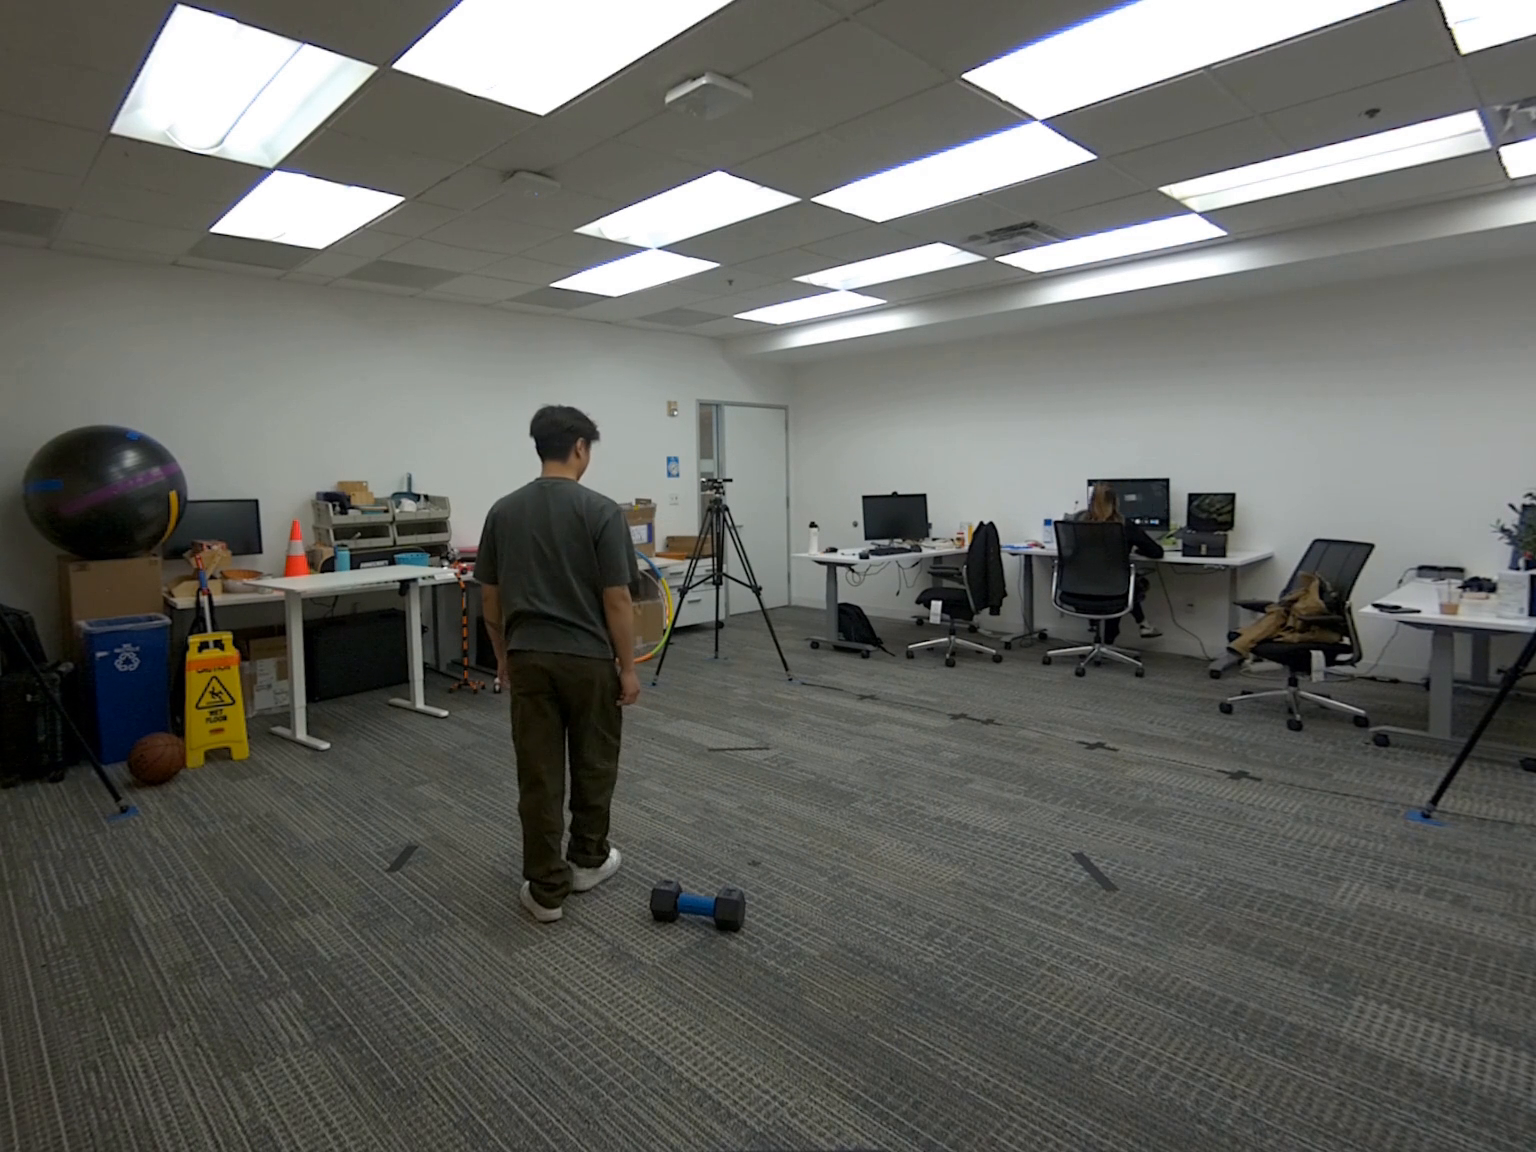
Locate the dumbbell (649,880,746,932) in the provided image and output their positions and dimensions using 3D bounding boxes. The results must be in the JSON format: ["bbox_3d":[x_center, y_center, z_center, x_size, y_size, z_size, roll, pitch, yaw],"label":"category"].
[{"bbox_3d":[-0.217,1.033,2.700,0.298,0.108,0.121,1,4,16],"label":"dumbbell"}]
